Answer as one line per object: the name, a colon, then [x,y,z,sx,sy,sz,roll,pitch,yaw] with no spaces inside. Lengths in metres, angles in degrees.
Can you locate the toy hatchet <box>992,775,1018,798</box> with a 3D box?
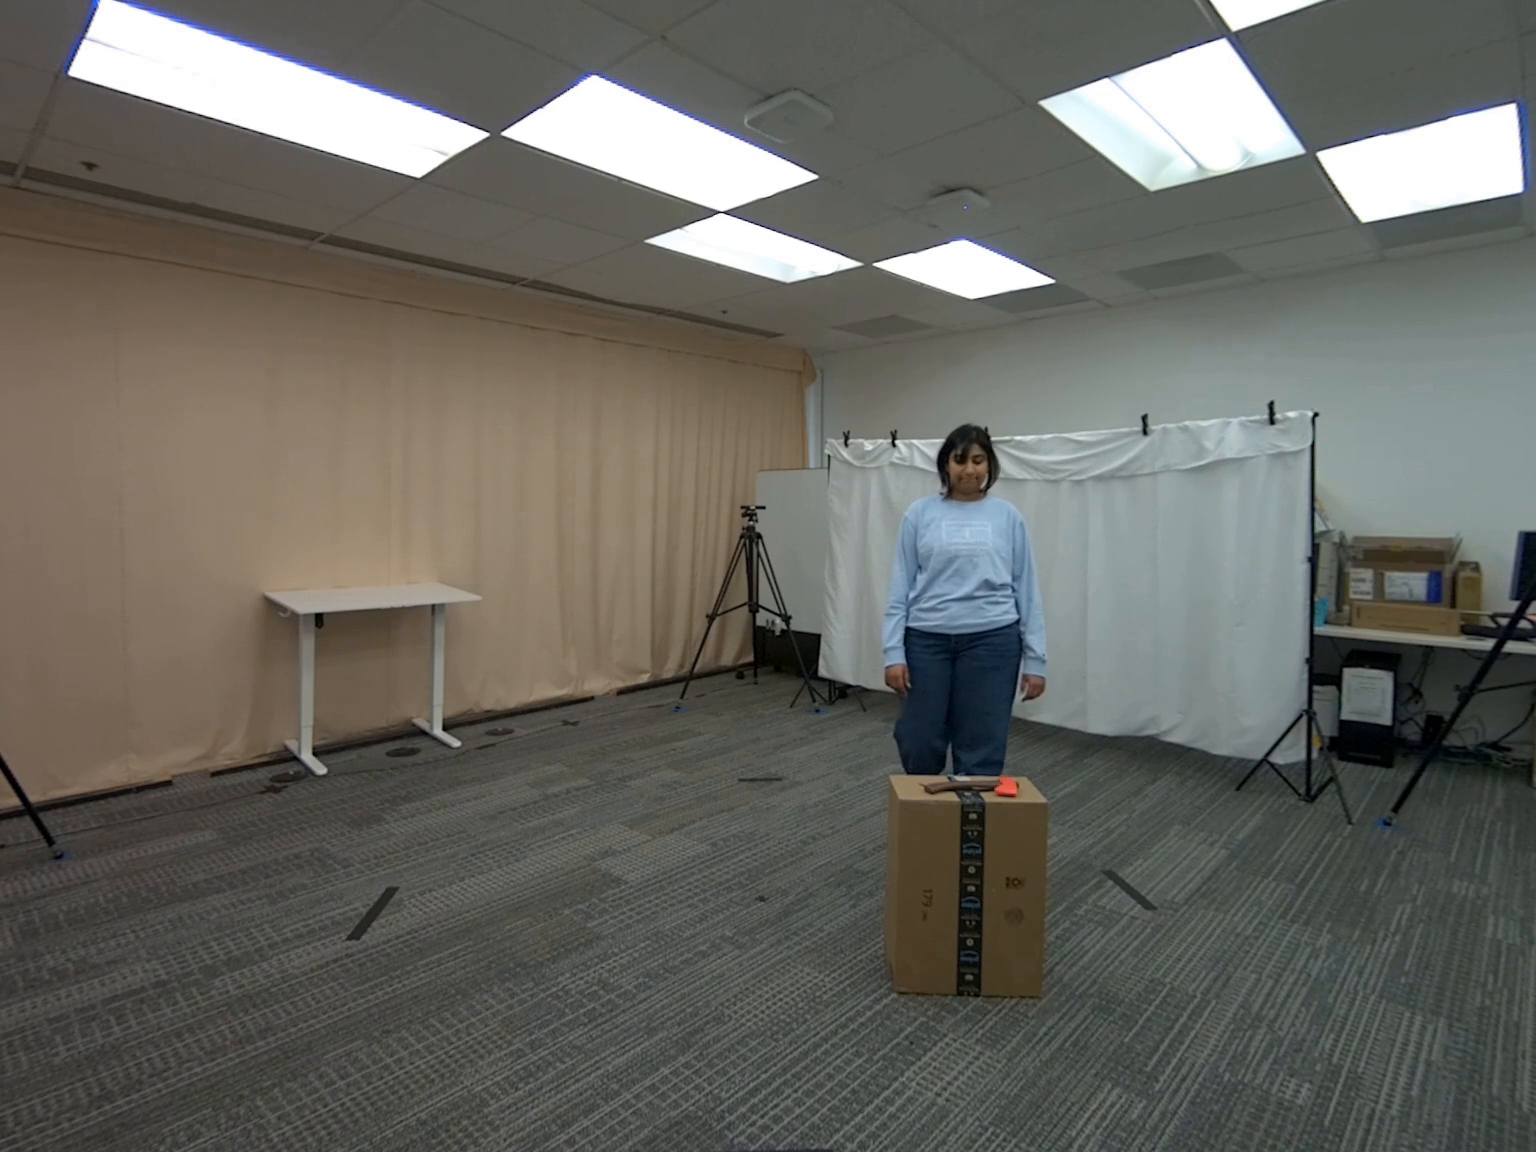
toy hatchet: [0.587,0.613,2.418,0.266,0.029,0.134,-4,11,-15]
